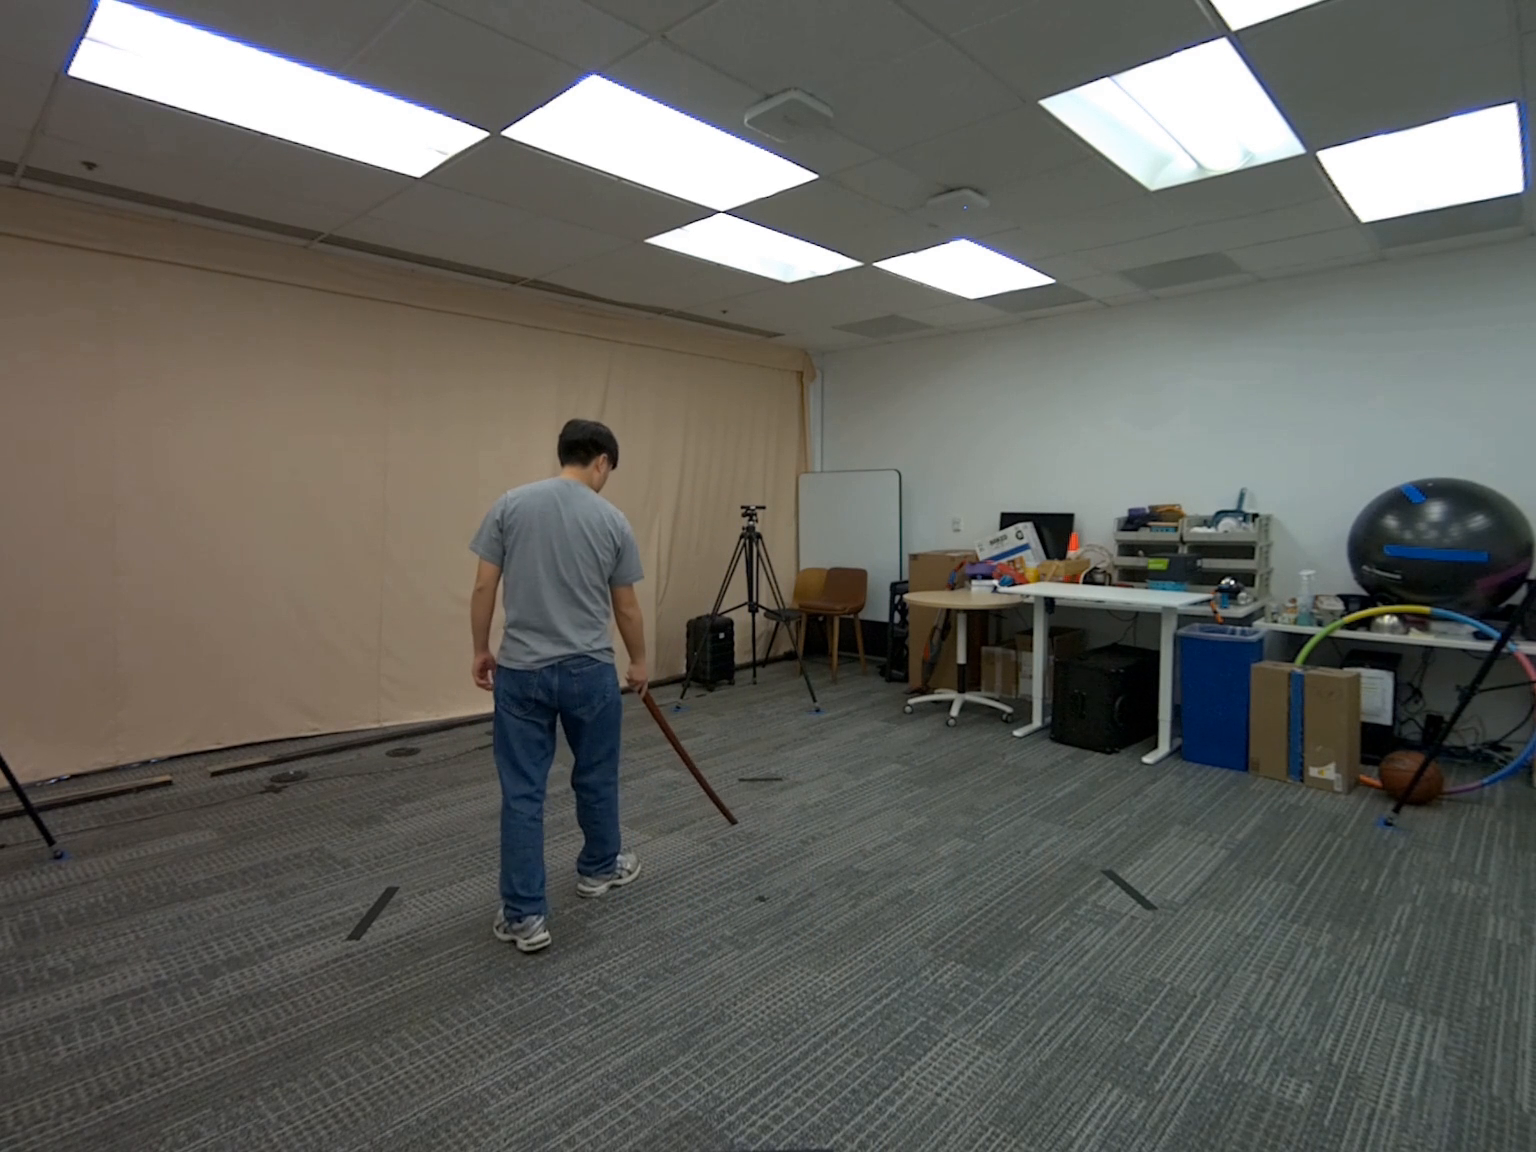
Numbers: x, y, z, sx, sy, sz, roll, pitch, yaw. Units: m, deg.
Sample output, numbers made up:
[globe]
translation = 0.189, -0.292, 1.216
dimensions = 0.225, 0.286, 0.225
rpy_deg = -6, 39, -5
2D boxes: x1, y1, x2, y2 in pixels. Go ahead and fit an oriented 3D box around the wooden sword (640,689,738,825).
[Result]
[wooden sword]
translation = -0.337, 0.742, 3.418
dimensions = 0.024, 0.994, 0.053
rpy_deg = -38, 36, -12
